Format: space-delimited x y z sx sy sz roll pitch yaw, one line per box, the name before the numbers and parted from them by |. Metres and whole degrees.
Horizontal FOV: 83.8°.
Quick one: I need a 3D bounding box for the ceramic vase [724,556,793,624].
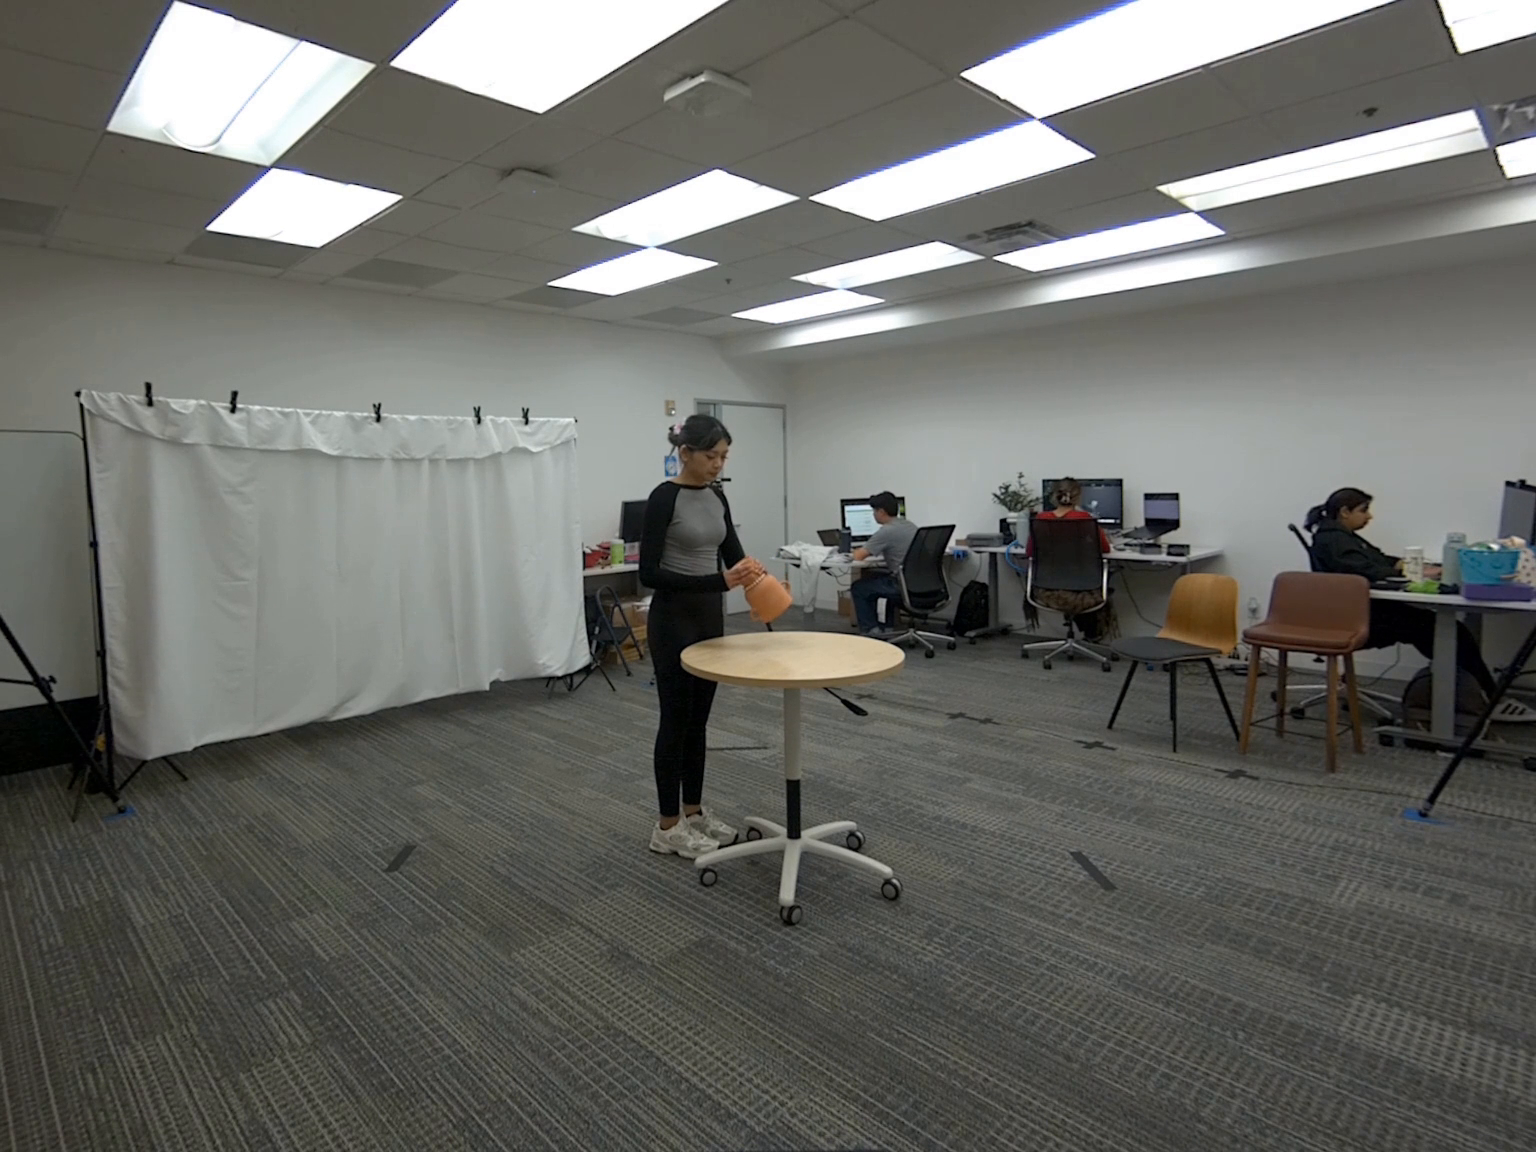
ceramic vase | -0.028 0.038 3.034 0.135 0.219 0.159 -38 5 27
